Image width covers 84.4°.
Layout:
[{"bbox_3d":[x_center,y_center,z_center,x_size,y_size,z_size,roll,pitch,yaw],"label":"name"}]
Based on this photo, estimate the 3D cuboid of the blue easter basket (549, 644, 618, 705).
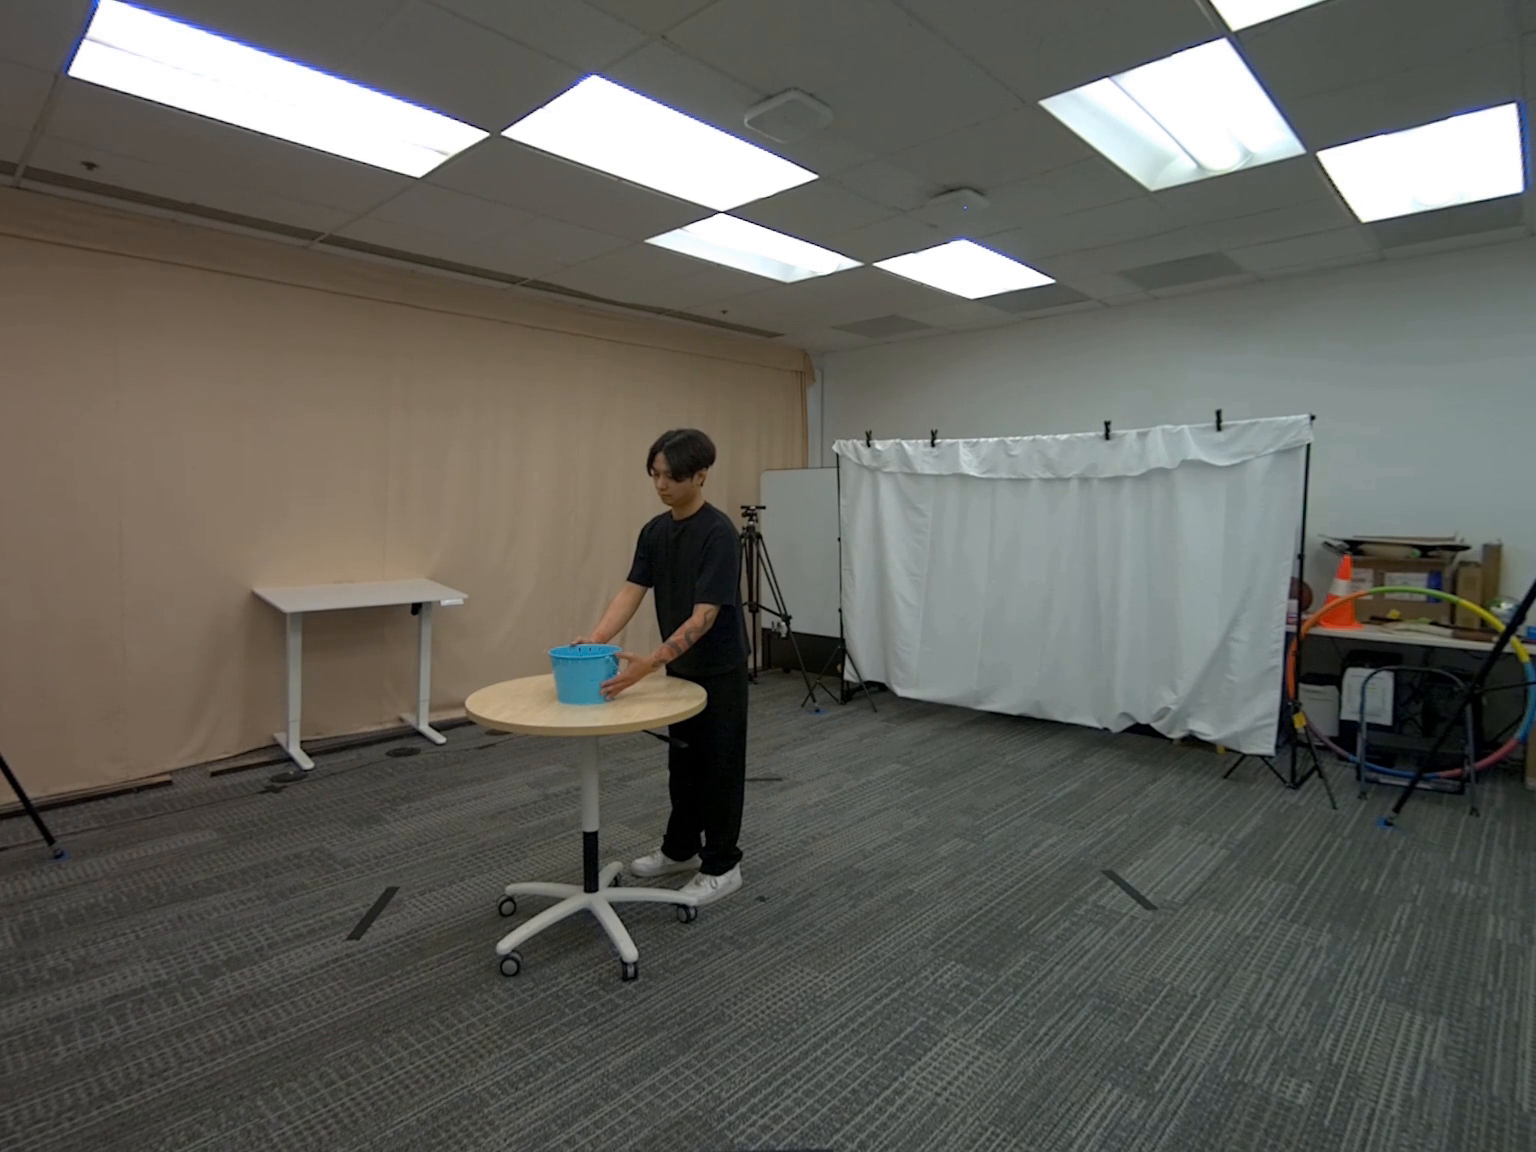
[{"bbox_3d":[-0.580,0.315,2.670,0.243,0.155,0.244,-1,4,-2],"label":"blue easter basket"}]
